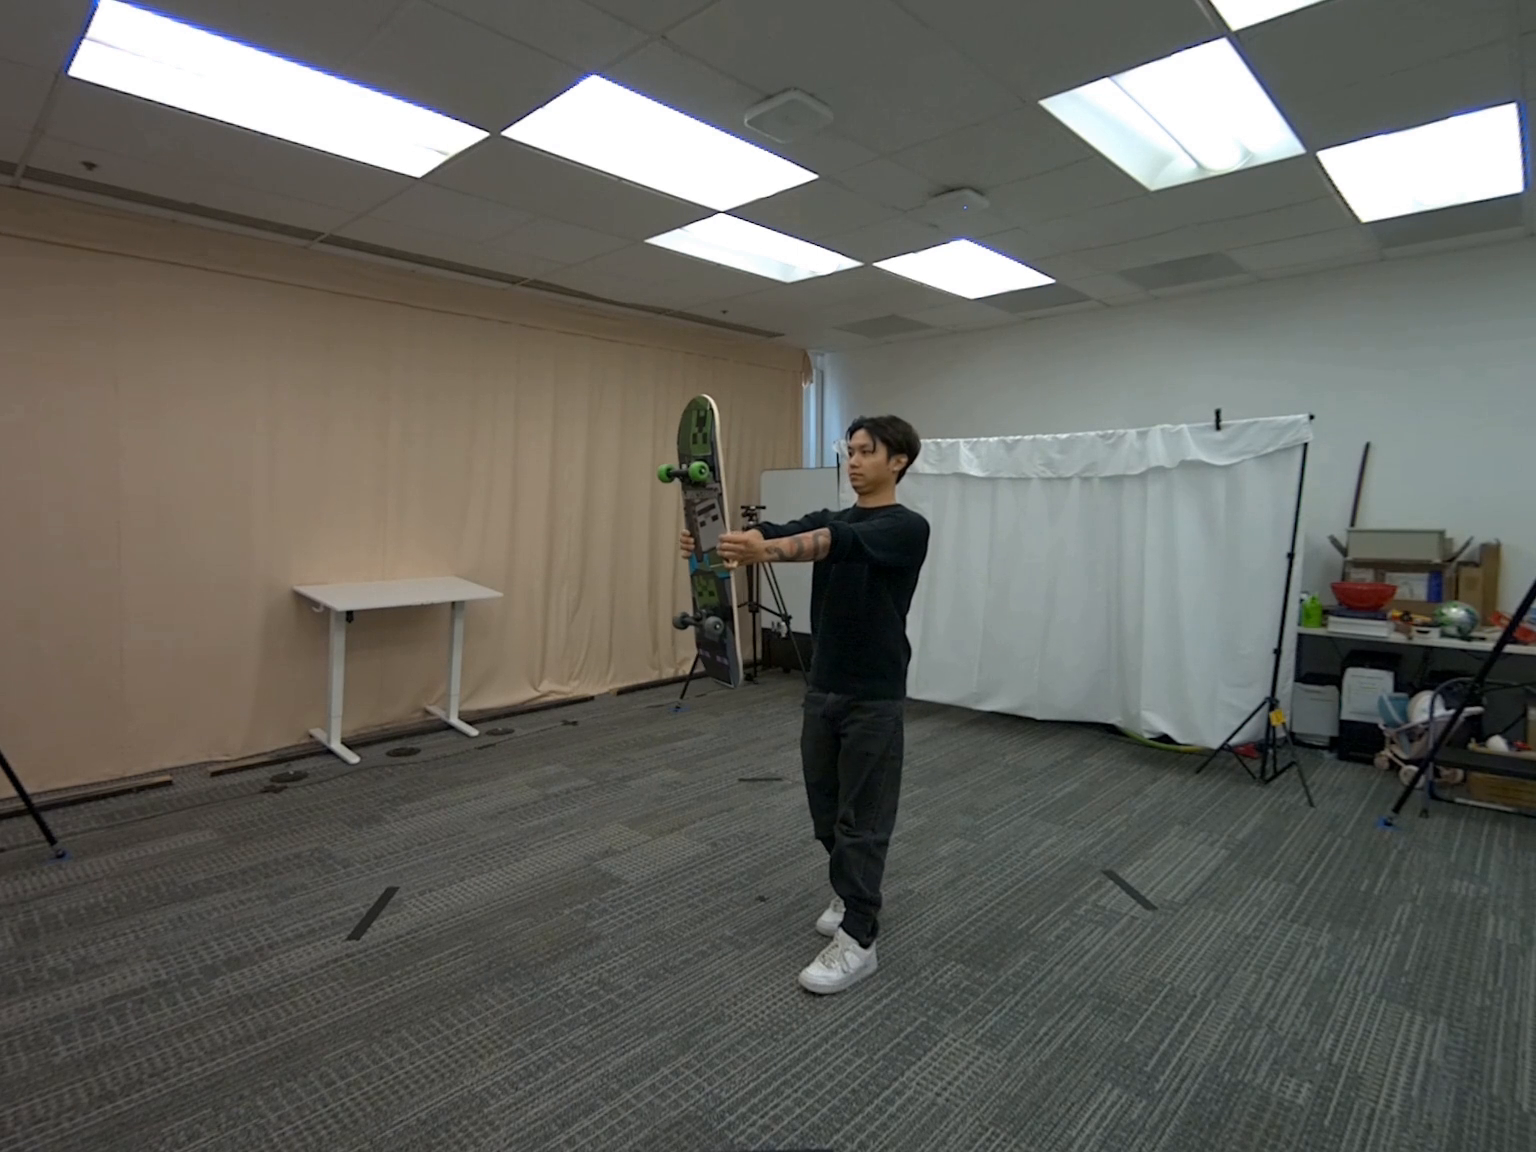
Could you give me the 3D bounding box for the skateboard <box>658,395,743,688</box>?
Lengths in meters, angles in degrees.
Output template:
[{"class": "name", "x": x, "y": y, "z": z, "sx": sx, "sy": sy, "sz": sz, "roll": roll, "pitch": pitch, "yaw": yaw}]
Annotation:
[{"class": "skateboard", "x": -0.173, "y": -0.074, "z": 2.224, "sx": 0.107, "sy": 0.781, "sz": 0.199, "roll": -11, "pitch": 8, "yaw": -37}]
